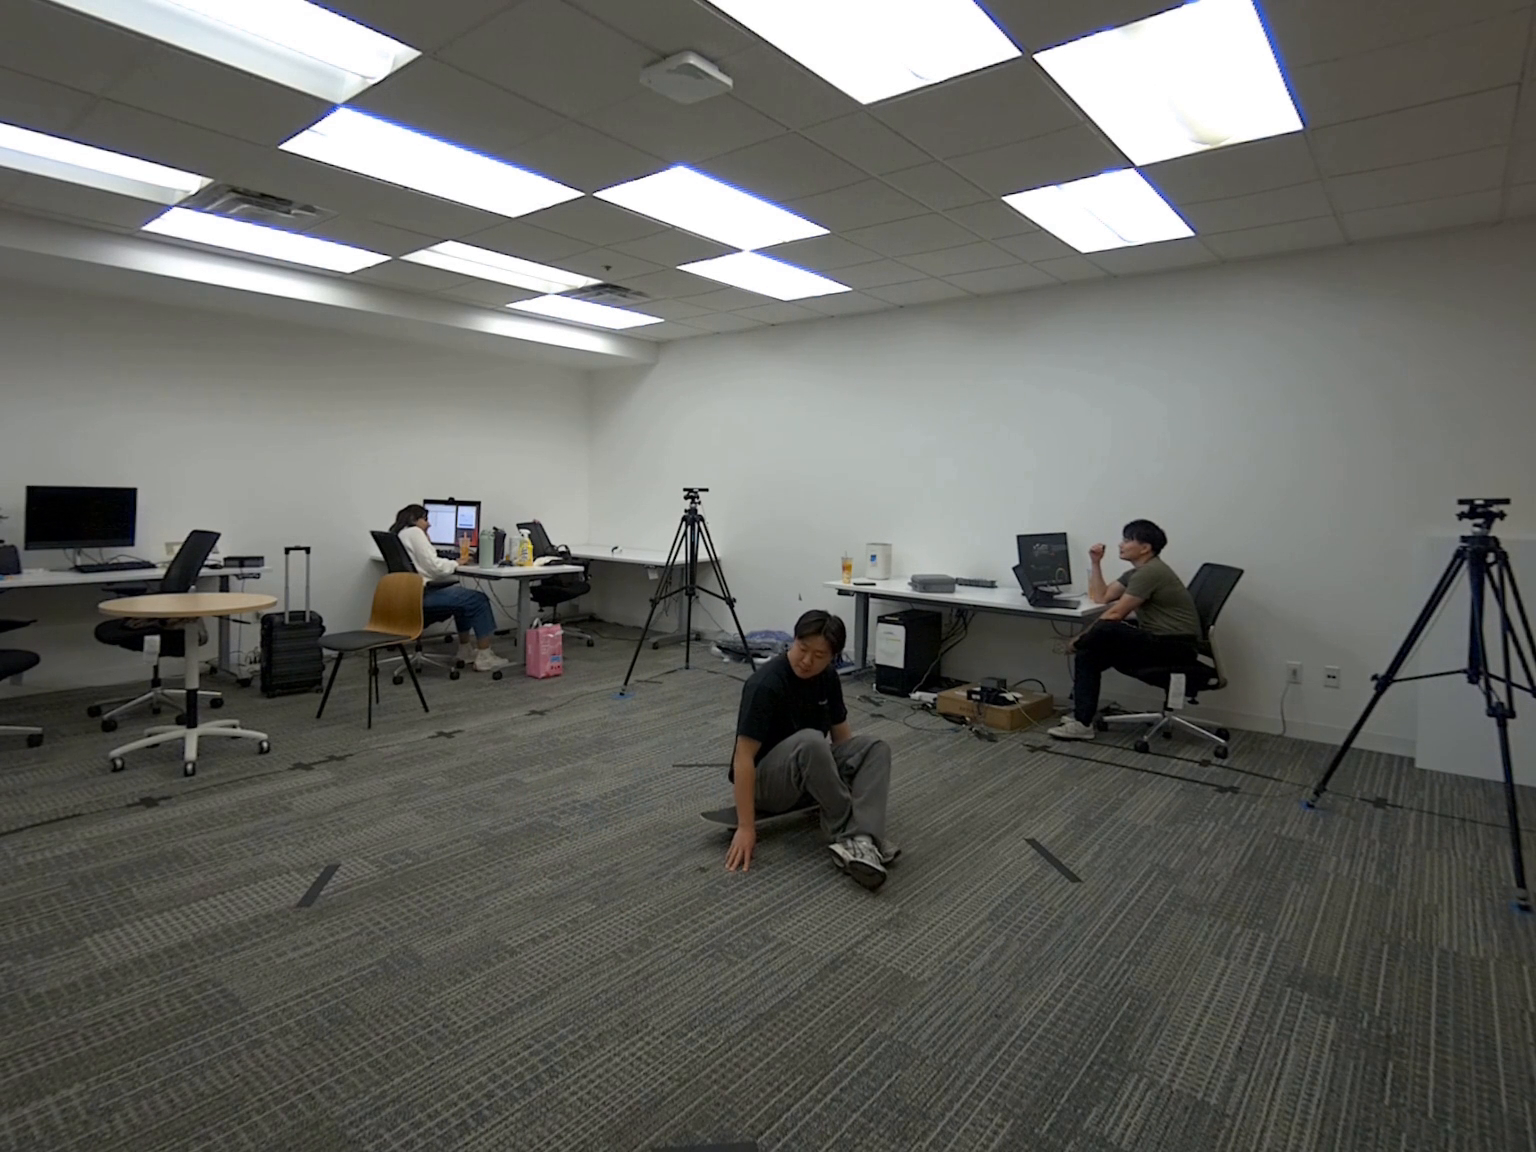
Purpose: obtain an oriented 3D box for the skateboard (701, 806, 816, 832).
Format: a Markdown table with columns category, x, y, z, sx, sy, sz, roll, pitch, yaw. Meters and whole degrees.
| category | x | y | z | sx | sy | sz | roll | pitch | yaw |
| --- | --- | --- | --- | --- | --- | --- | --- | --- | --- |
| skateboard | 0.050 | 0.974 | 3.535 | 0.762 | 0.110 | 0.199 | -2 | 3 | -36 |
